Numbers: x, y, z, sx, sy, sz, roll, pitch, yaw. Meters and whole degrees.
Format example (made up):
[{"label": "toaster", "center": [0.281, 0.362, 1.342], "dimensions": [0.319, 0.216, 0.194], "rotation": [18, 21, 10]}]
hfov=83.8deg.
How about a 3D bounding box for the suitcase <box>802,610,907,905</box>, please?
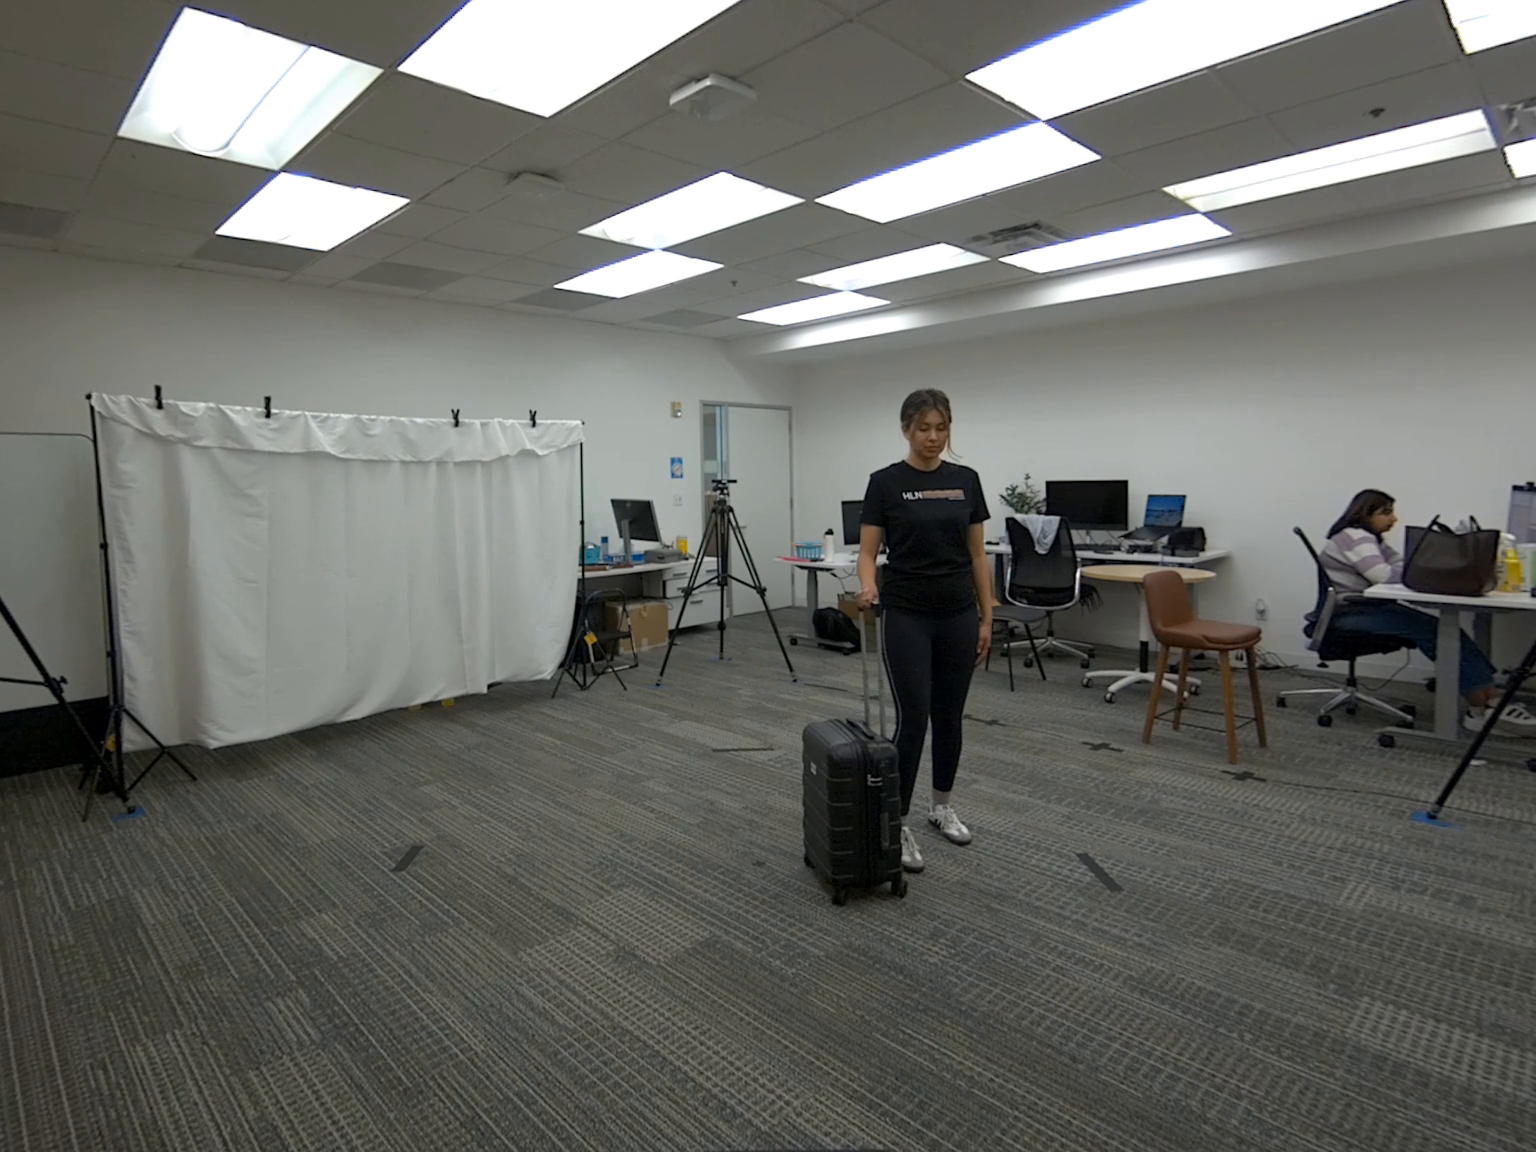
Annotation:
[{"label": "suitcase", "center": [0.270, 0.586, 2.917], "dimensions": [0.254, 0.975, 0.389], "rotation": [-4, 4, -12]}]
